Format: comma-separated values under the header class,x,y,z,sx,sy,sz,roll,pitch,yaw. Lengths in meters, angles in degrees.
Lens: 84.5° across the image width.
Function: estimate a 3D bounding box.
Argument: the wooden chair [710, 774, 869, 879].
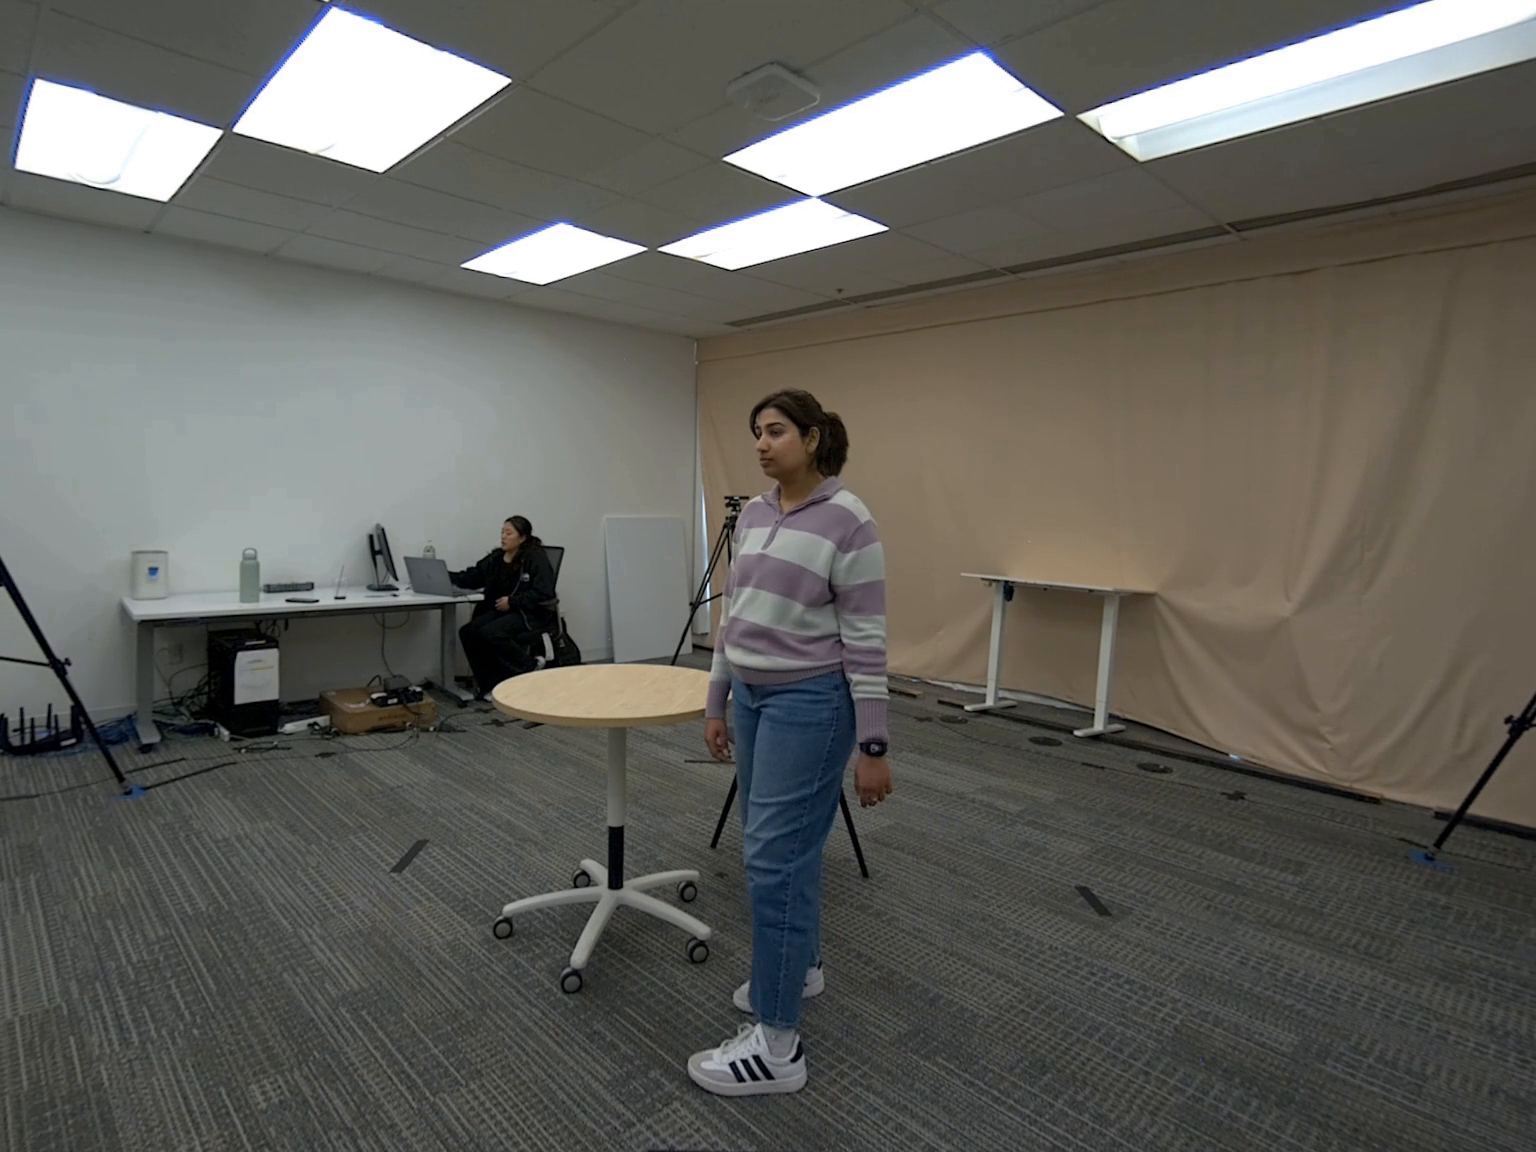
class,x,y,z,sx,sy,sz,roll,pitch,yaw
wooden chair,0.077,0.675,3.207,0.470,0.873,0.535,0,8,-25
